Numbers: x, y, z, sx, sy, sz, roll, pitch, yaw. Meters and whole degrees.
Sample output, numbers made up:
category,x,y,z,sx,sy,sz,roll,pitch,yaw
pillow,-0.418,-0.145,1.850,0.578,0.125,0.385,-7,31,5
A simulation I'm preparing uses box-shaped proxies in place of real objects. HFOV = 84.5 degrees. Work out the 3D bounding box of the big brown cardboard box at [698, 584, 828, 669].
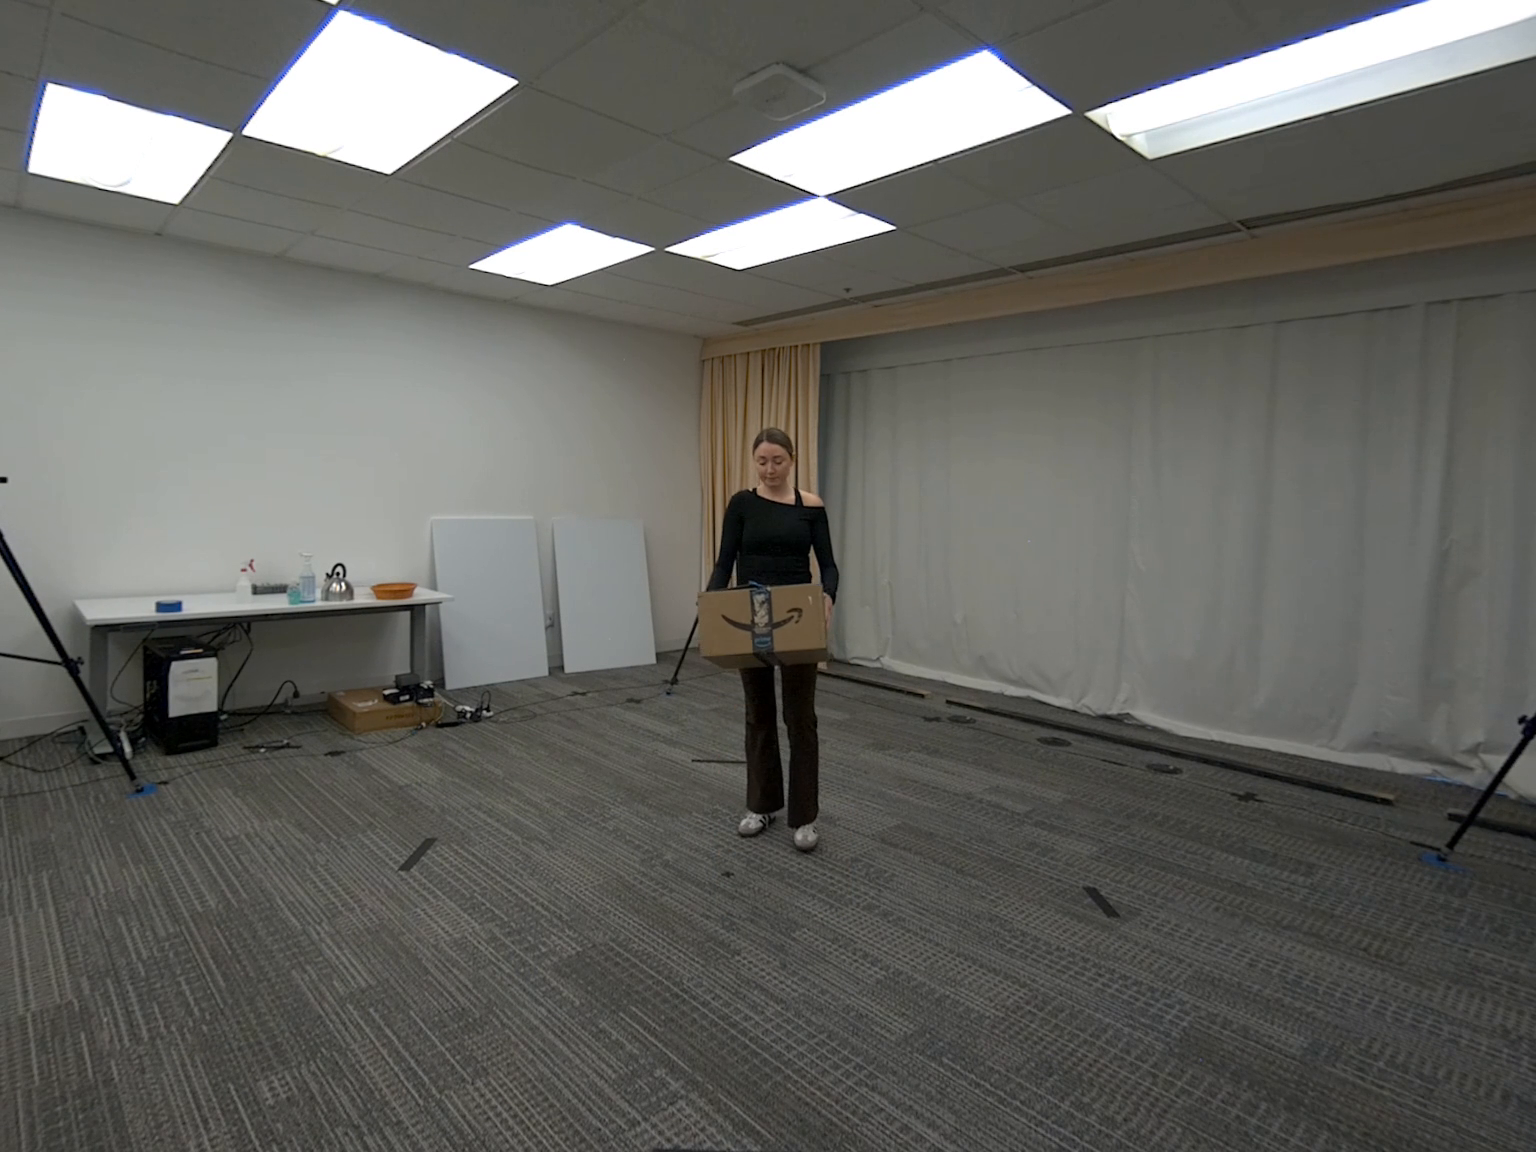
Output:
category,x,y,z,sx,sy,sz,roll,pitch,yaw
big brown cardboard box,0.000,0.194,2.998,0.419,0.235,0.581,-4,-11,5
